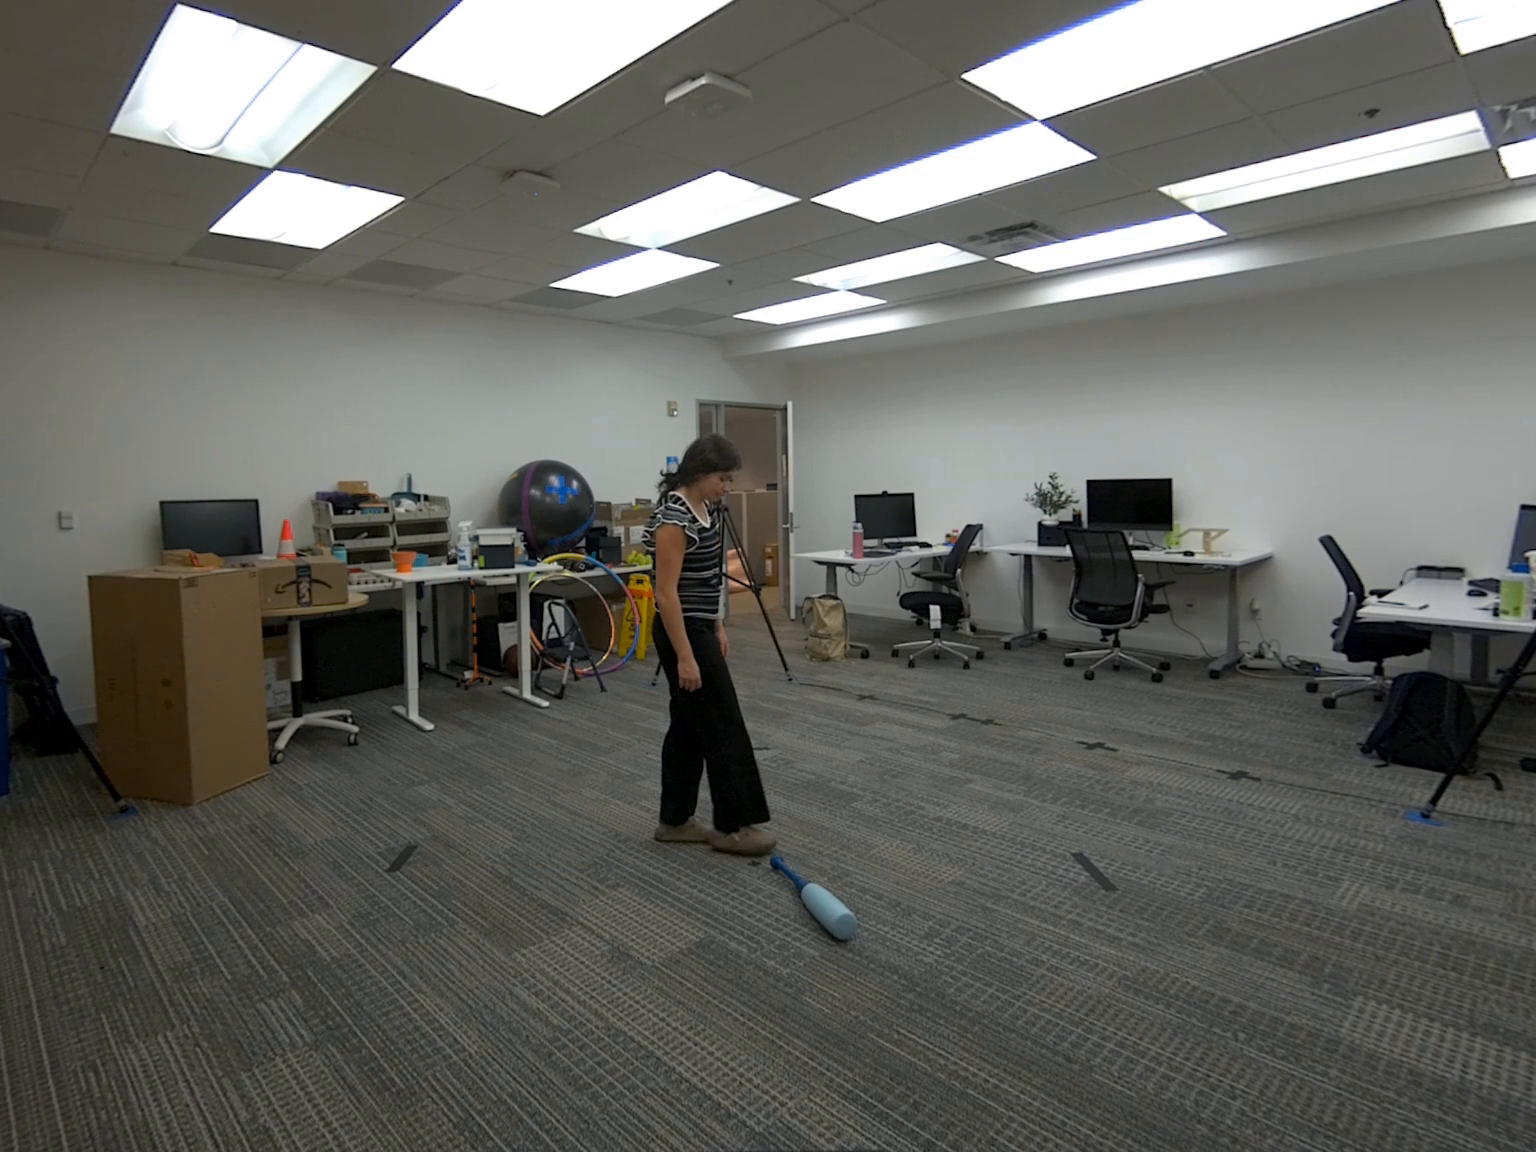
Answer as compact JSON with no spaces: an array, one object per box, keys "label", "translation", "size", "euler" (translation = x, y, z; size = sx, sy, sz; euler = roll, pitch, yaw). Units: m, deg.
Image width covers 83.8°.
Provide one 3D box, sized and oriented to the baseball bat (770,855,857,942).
[{"label":"baseball bat","translation":[0.135,1.040,2.813],"size":[0.087,0.089,0.553],"euler":[-3,3,-21]}]
